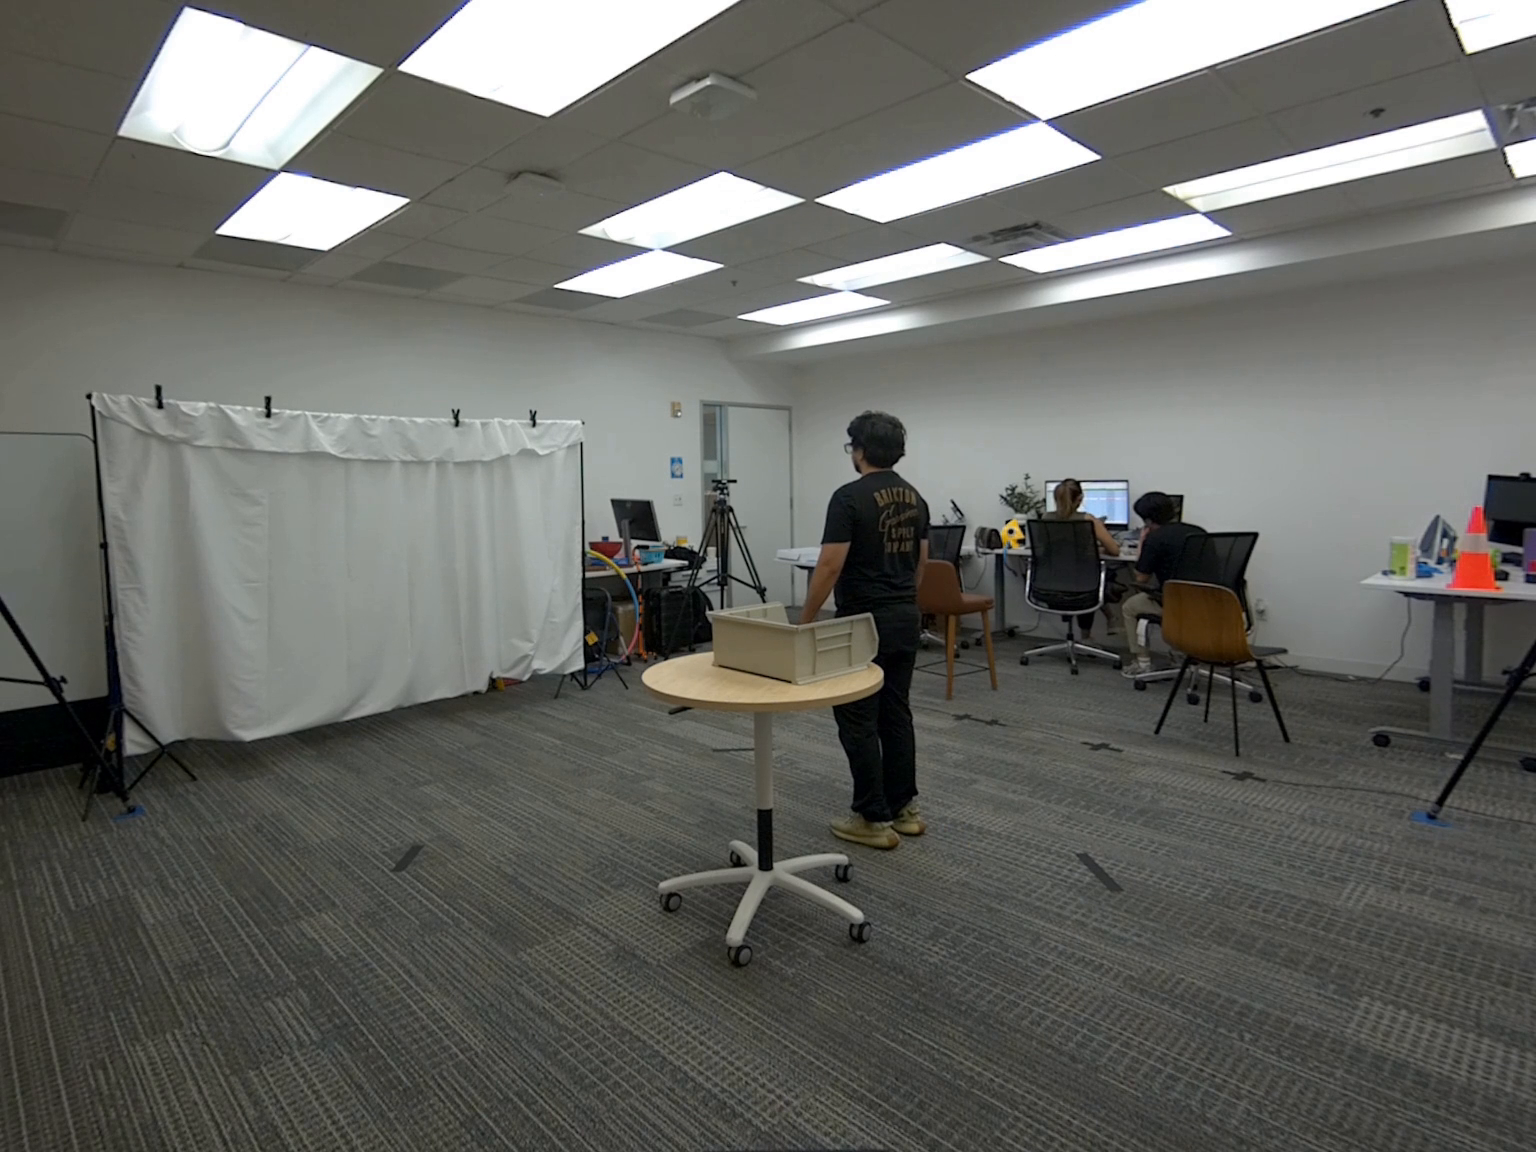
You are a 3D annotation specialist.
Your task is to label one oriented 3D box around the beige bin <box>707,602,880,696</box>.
[{"bbox_3d":[0.078,0.211,2.794,0.368,0.188,0.435,-8,10,-41],"label":"beige bin"}]
